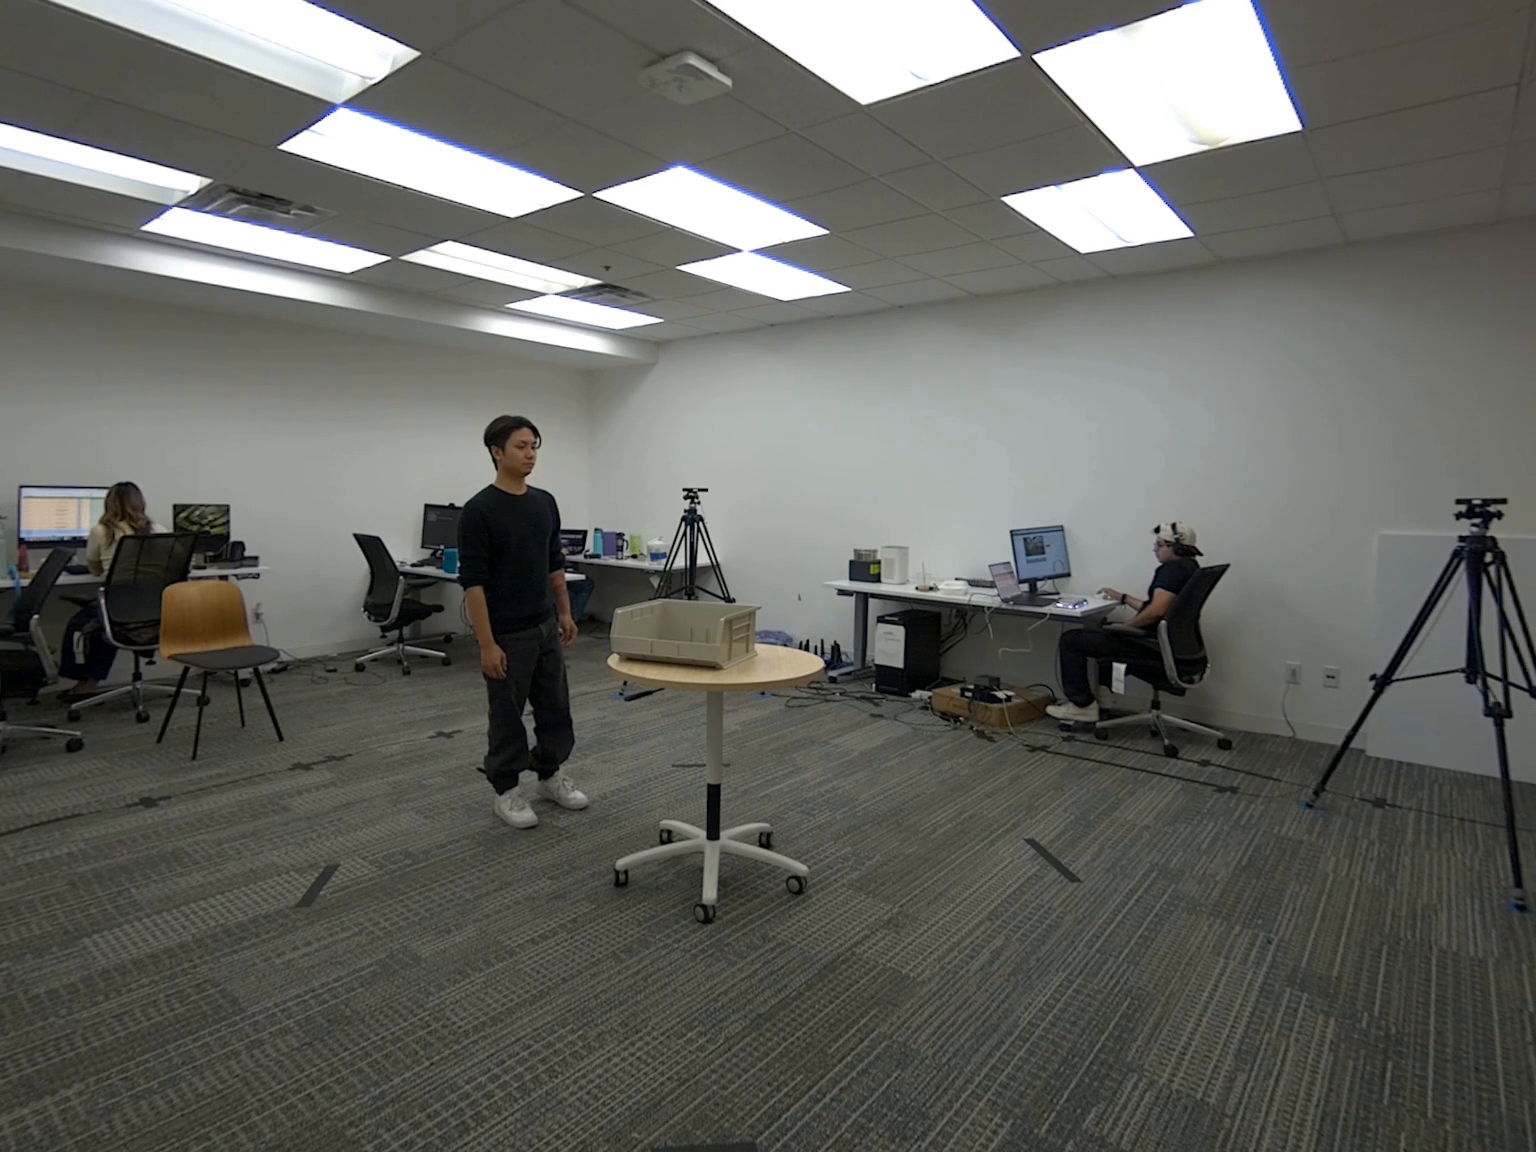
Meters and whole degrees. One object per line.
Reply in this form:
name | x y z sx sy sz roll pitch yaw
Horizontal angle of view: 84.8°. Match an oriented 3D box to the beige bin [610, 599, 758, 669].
beige bin | -0.299 0.199 3.049 0.432 0.188 0.369 2 4 22
